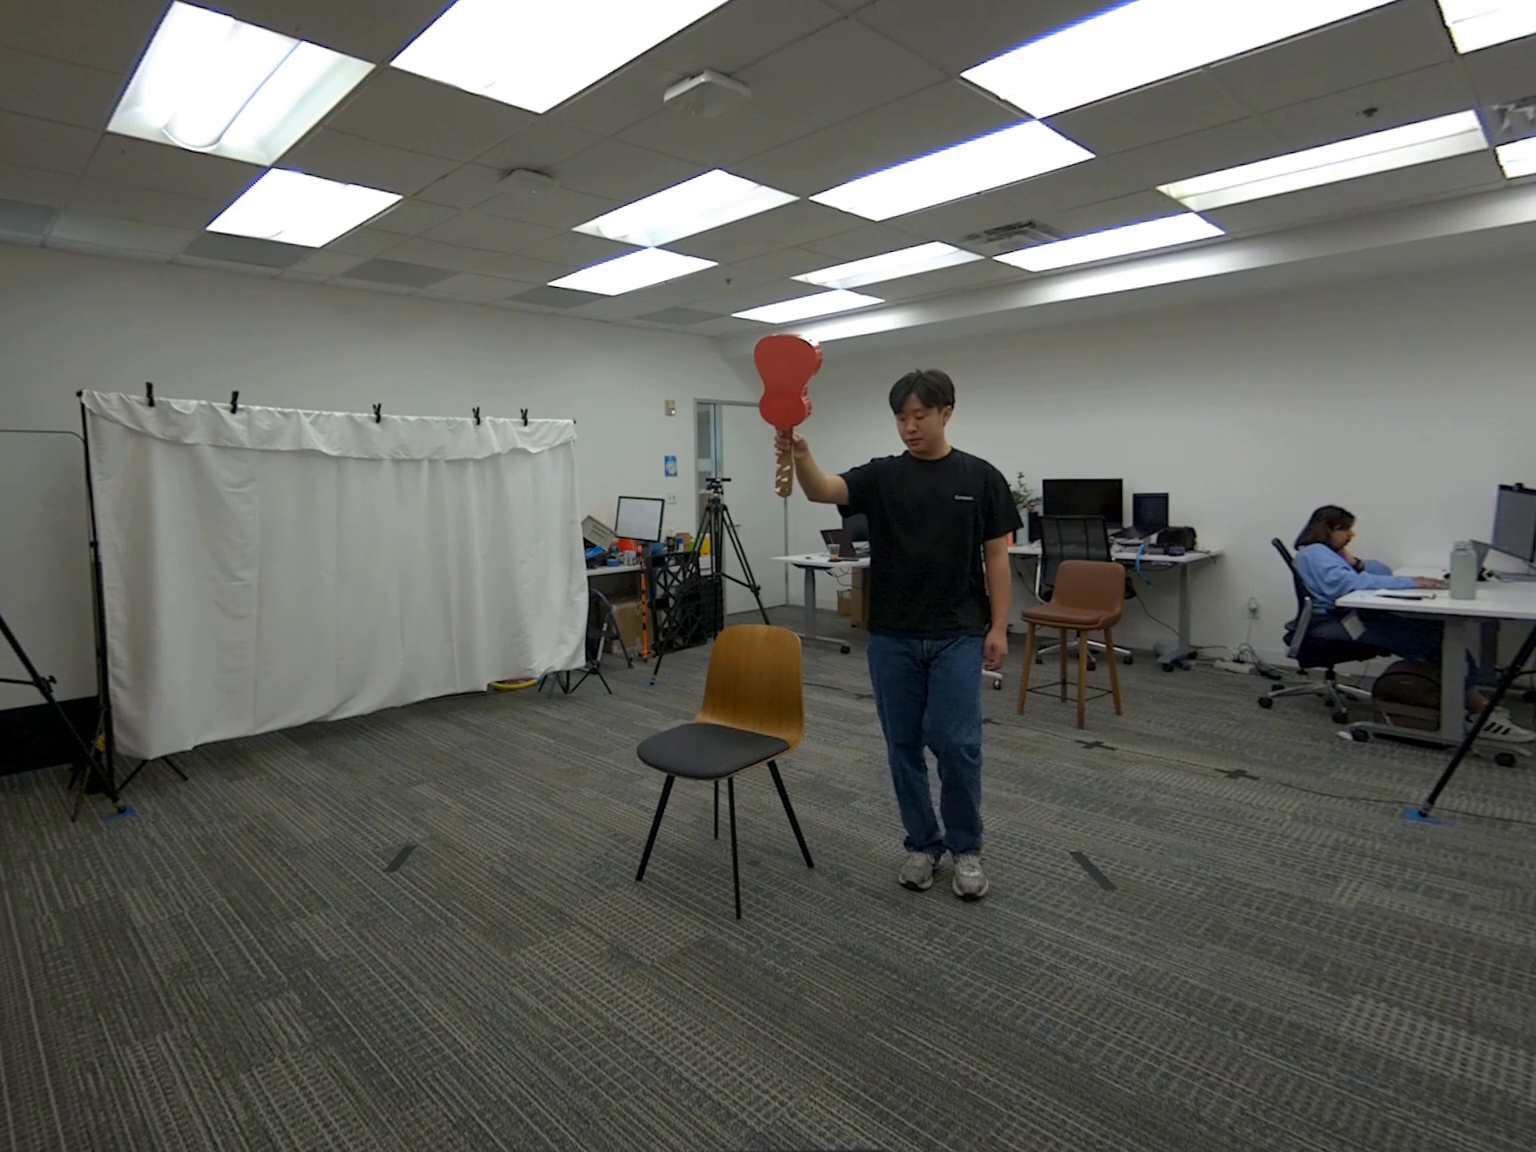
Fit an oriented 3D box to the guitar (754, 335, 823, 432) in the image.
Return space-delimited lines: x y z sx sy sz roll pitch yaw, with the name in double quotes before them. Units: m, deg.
"guitar" 0.082 -0.470 2.546 0.197 0.490 0.070 3 18 25
